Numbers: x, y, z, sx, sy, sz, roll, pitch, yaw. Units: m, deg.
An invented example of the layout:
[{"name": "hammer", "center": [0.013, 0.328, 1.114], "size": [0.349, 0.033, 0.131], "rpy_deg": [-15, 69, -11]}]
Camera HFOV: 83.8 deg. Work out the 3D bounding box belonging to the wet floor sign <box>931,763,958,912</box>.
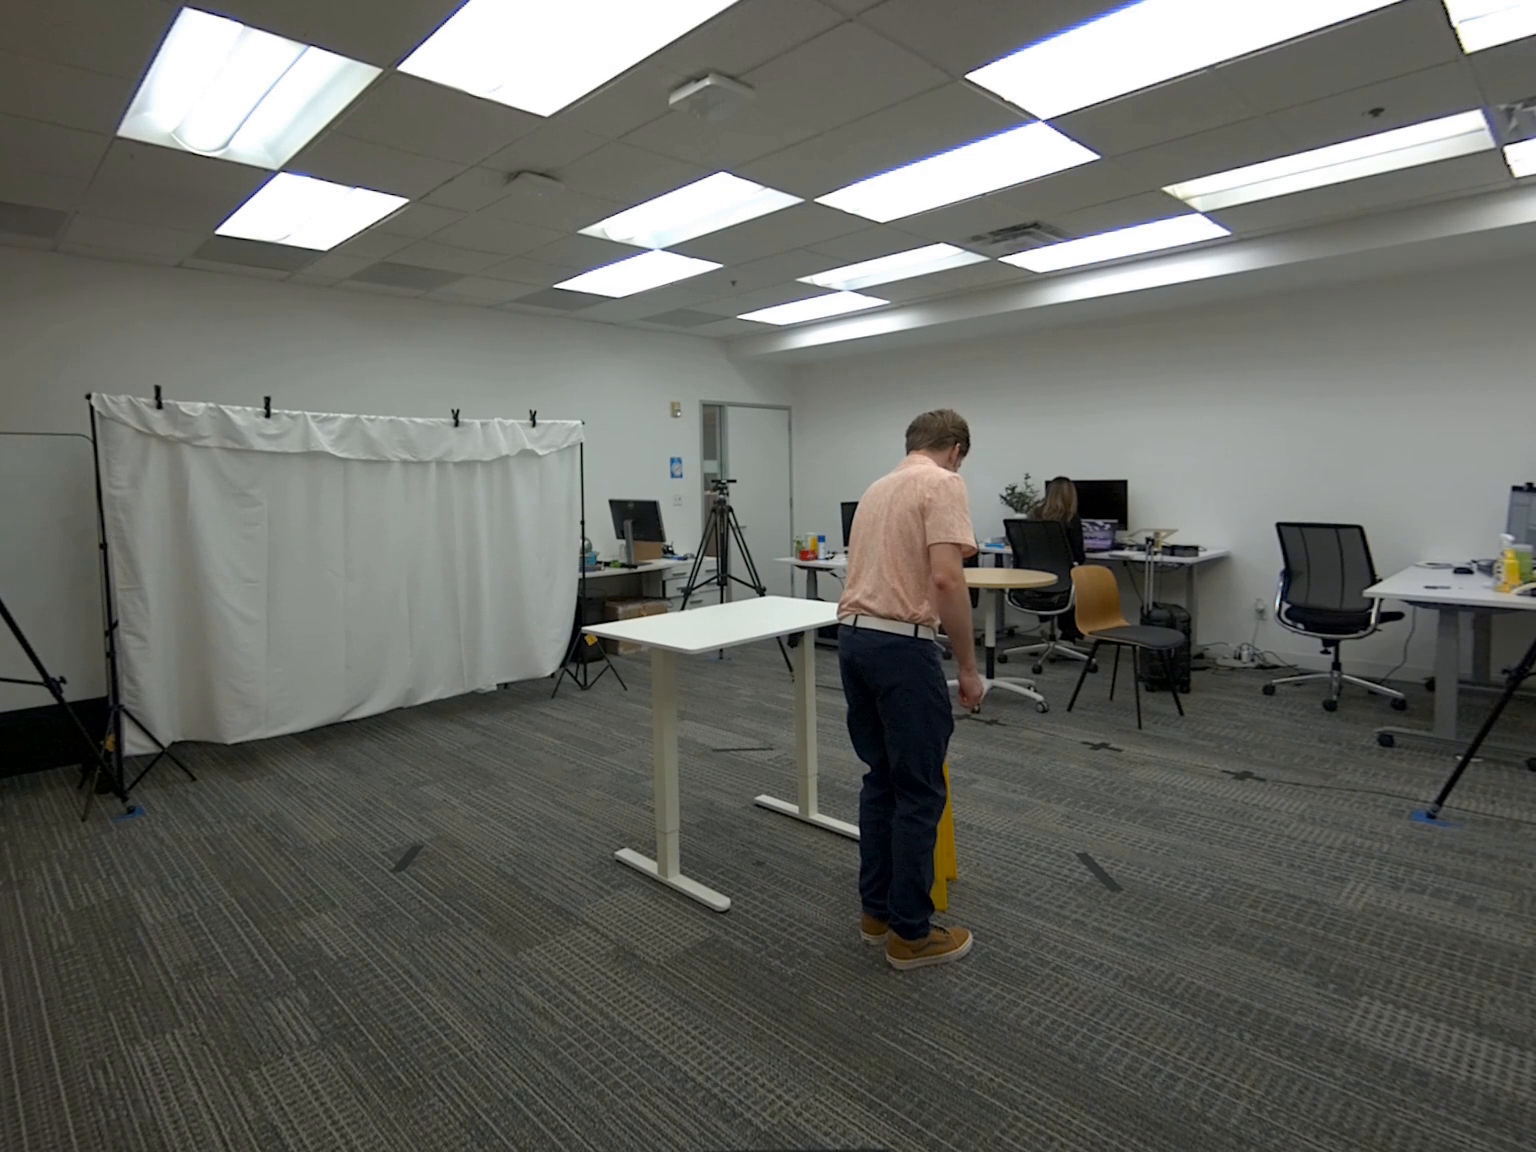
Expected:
[{"name": "wet floor sign", "center": [0.483, 0.741, 2.883], "size": [0.287, 0.644, 0.285], "rpy_deg": [-2, 3, 18]}]
